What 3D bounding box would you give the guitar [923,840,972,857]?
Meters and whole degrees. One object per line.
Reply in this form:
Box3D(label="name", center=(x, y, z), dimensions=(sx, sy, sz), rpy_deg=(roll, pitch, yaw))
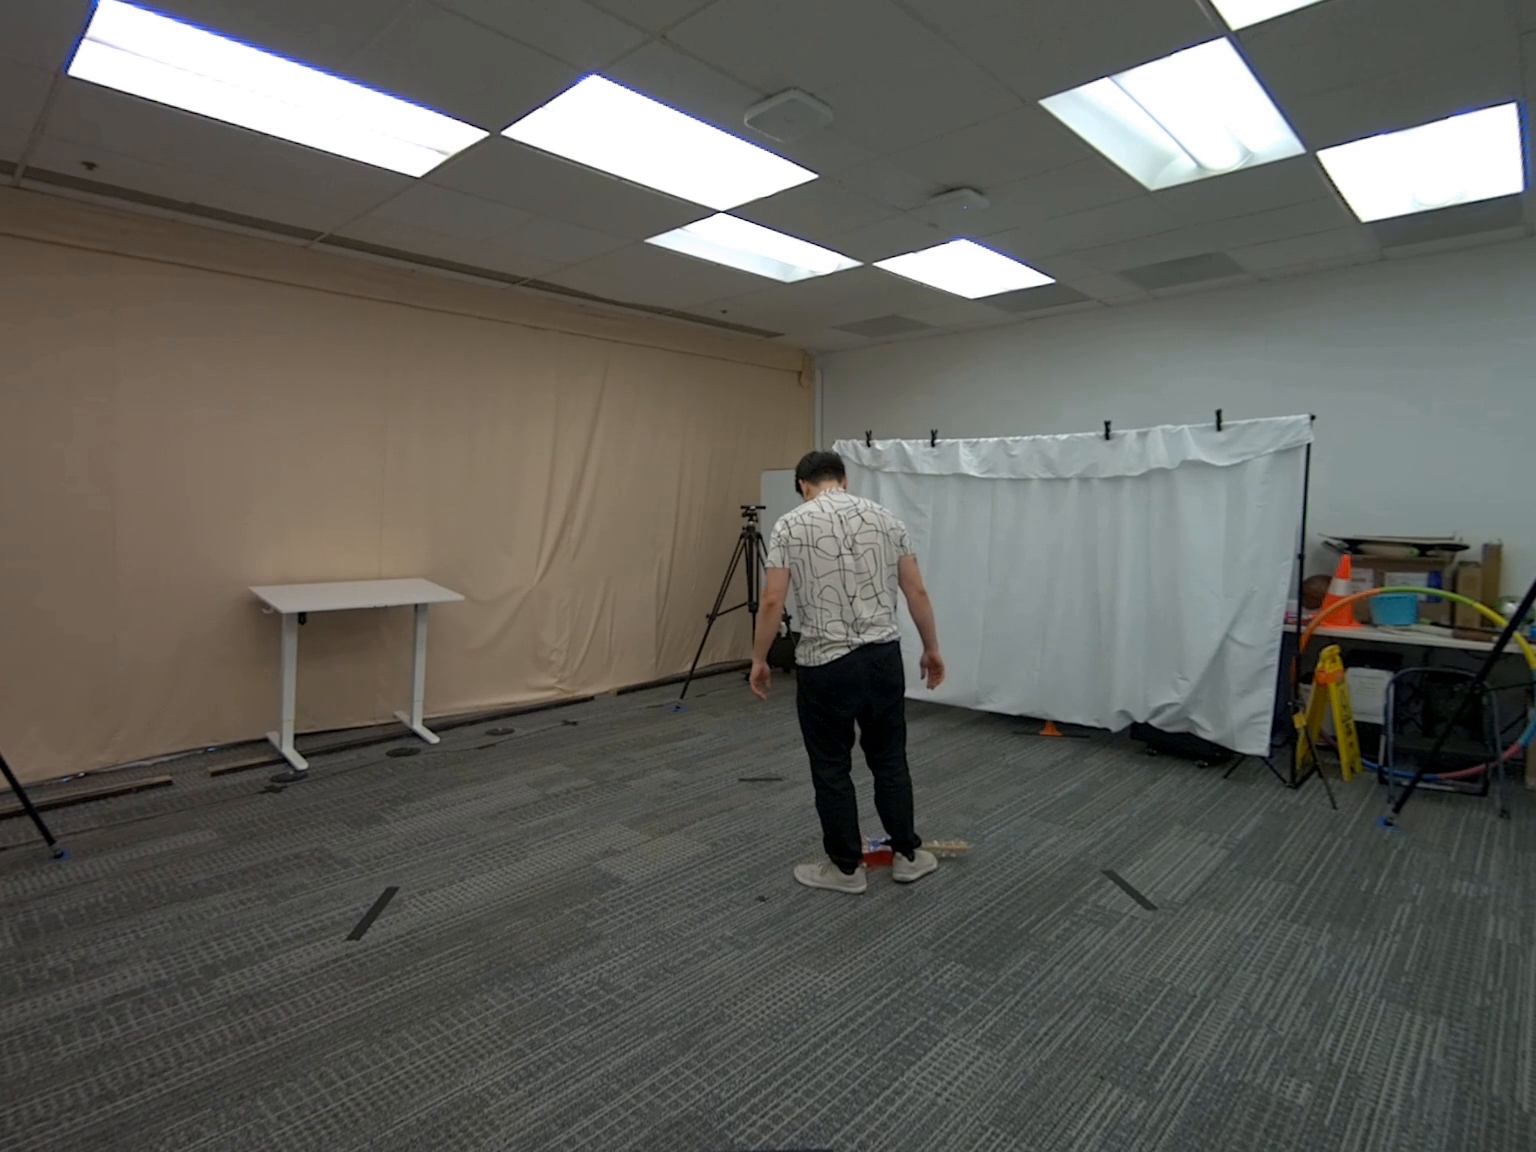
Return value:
Box3D(label="guitar", center=(0.540, 1.082, 3.288), dimensions=(0.504, 0.070, 0.191), rpy_deg=(1, 4, 10))
